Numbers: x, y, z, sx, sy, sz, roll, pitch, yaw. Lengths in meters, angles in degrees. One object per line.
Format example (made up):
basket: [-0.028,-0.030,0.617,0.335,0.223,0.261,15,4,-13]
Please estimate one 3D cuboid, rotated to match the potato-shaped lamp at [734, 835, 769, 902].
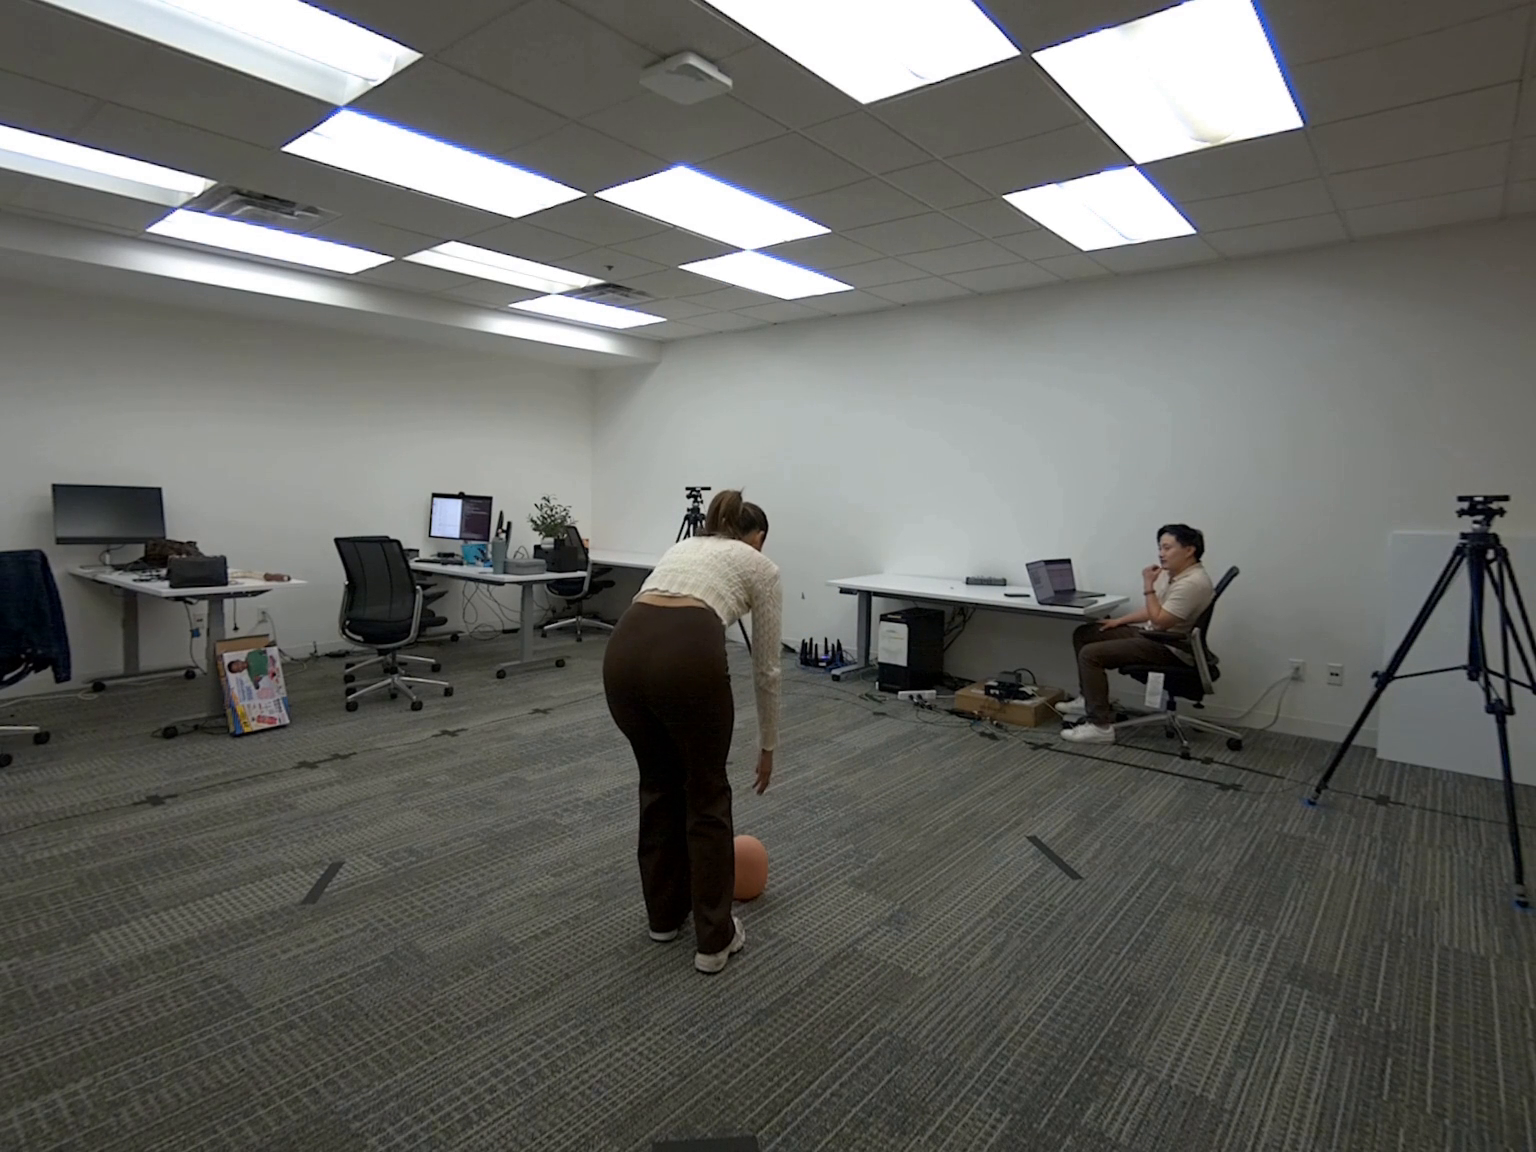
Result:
potato-shaped lamp: [-0.091,0.985,2.913,0.176,0.197,0.161,4,7,27]
